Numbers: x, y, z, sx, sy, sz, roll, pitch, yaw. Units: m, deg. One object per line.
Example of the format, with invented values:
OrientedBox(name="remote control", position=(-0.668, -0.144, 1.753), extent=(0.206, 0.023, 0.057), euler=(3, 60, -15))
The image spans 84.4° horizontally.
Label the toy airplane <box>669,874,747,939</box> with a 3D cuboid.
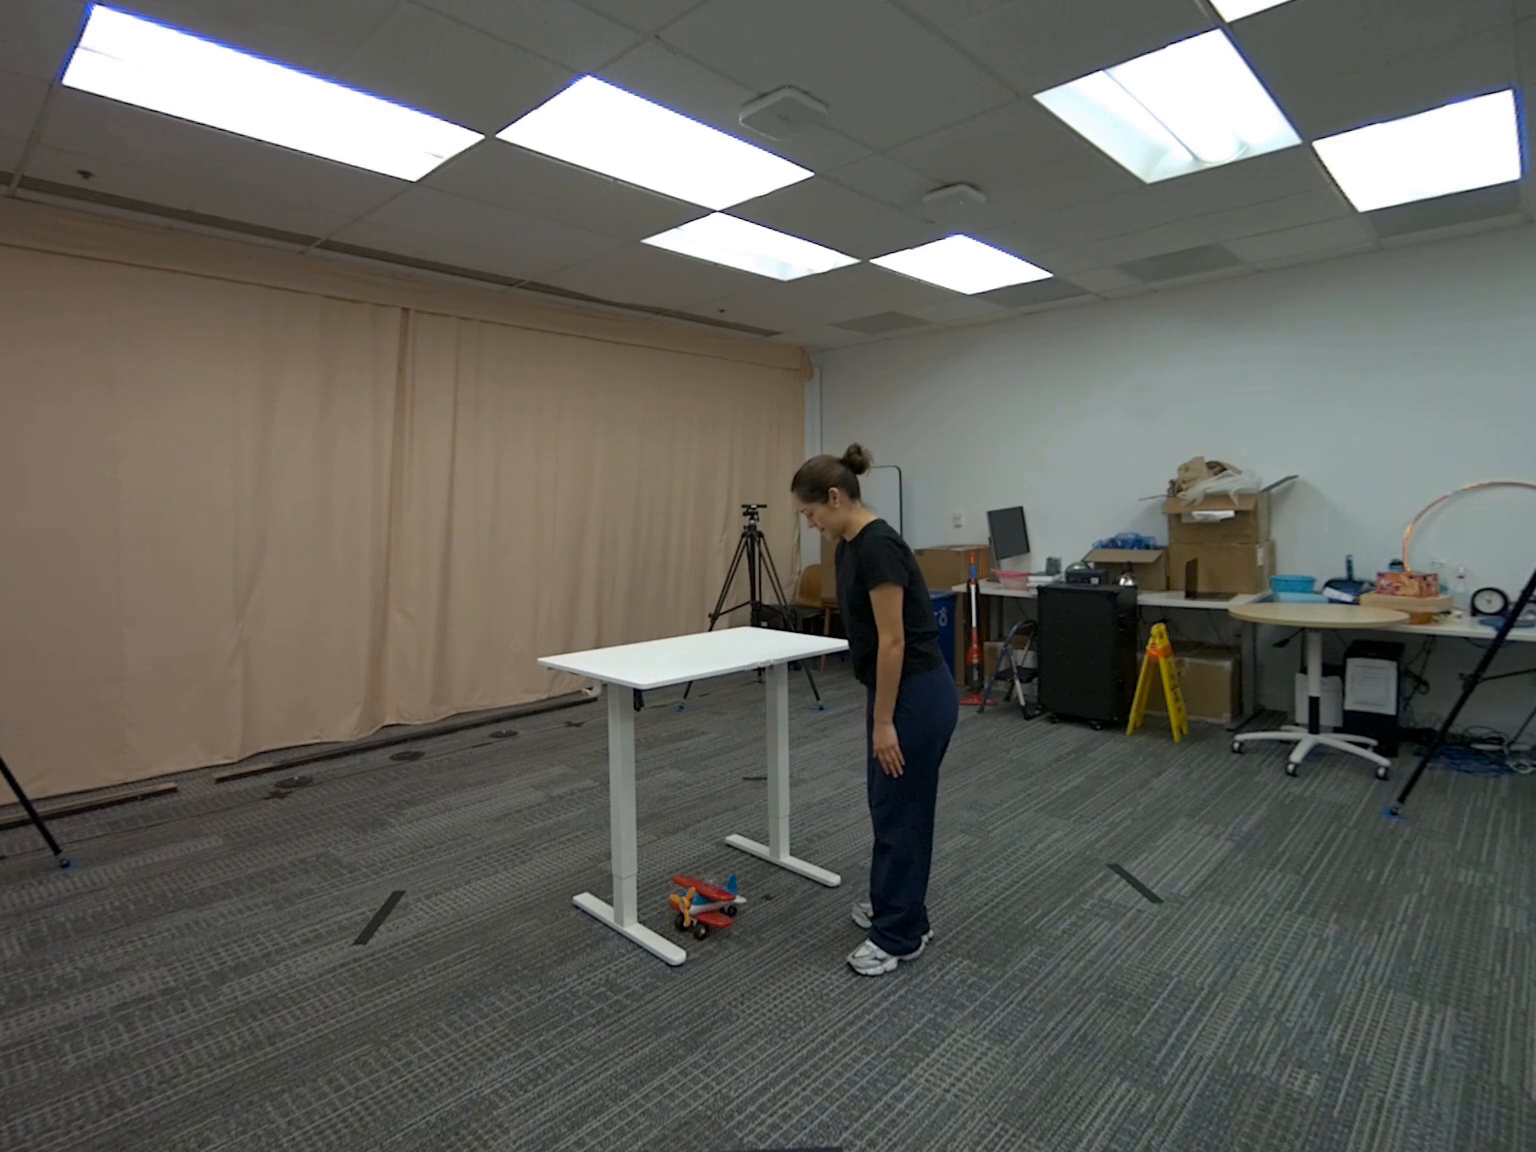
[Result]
OrientedBox(name="toy airplane", position=(-0.198, 1.090, 2.802), extent=(0.255, 0.156, 0.256), euler=(-1, 6, 14))
